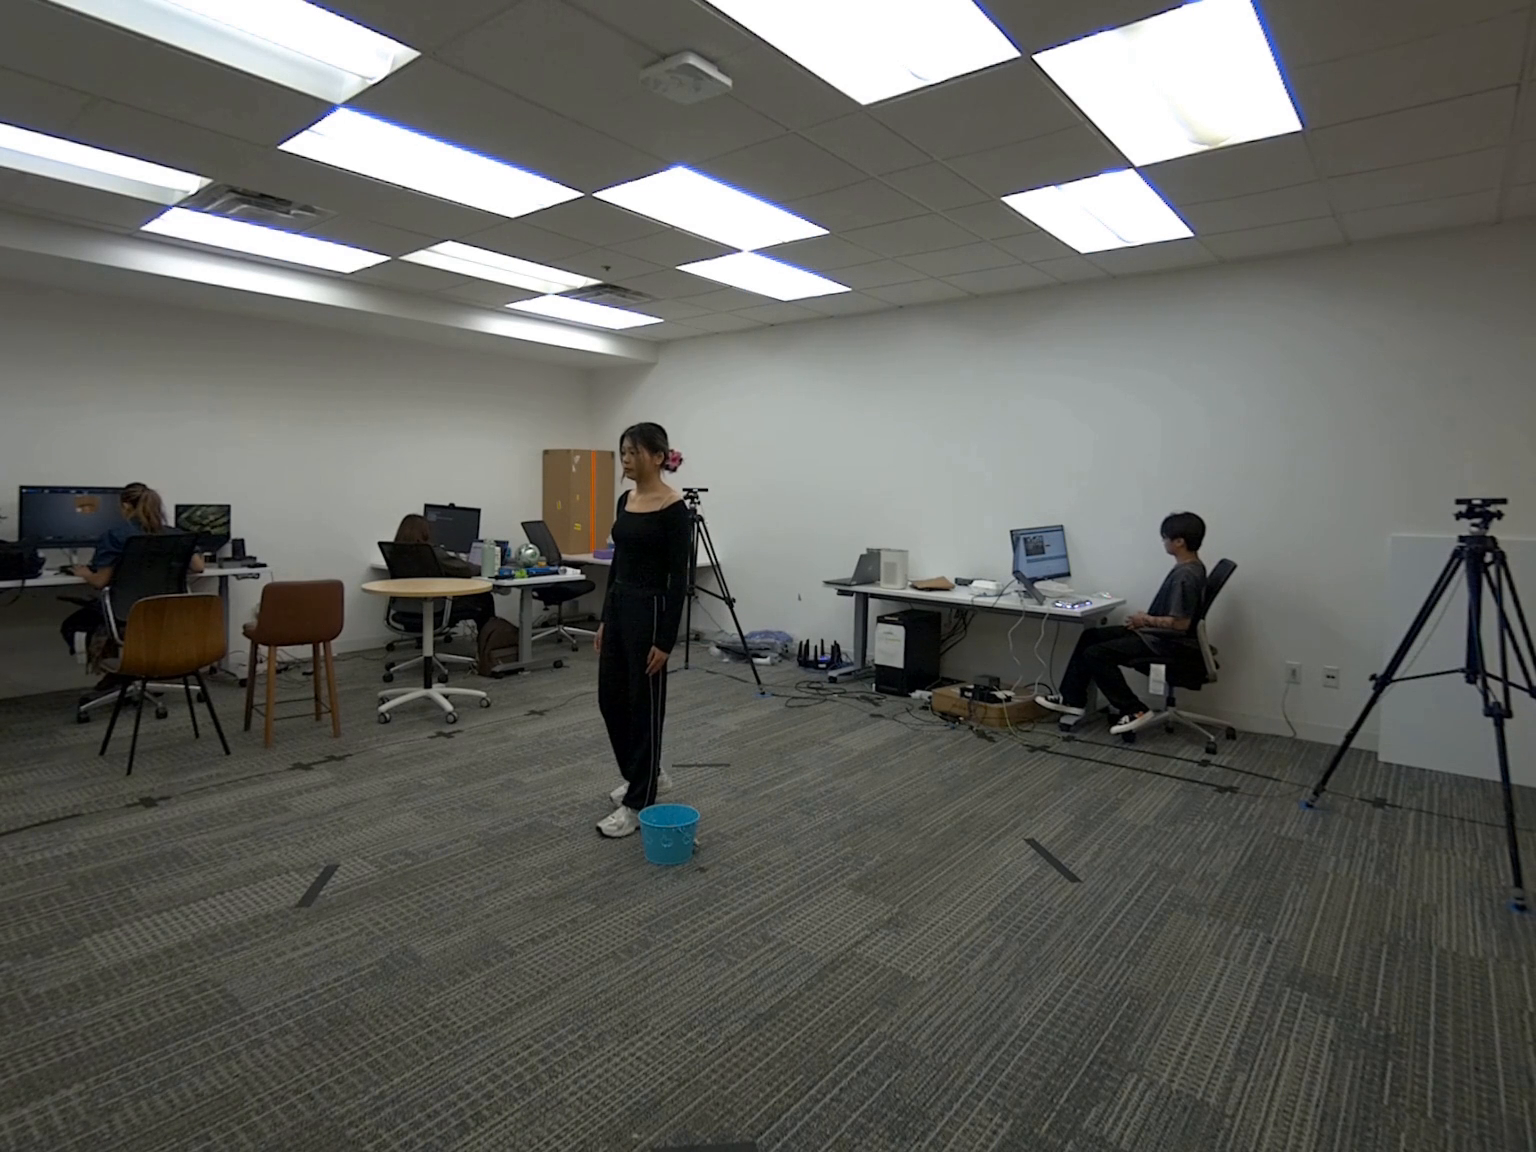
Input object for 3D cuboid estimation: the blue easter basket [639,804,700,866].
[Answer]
[{"bbox_3d":[-0.381,0.976,3.229,0.243,0.155,0.245,1,5,-2],"label":"blue easter basket"}]
